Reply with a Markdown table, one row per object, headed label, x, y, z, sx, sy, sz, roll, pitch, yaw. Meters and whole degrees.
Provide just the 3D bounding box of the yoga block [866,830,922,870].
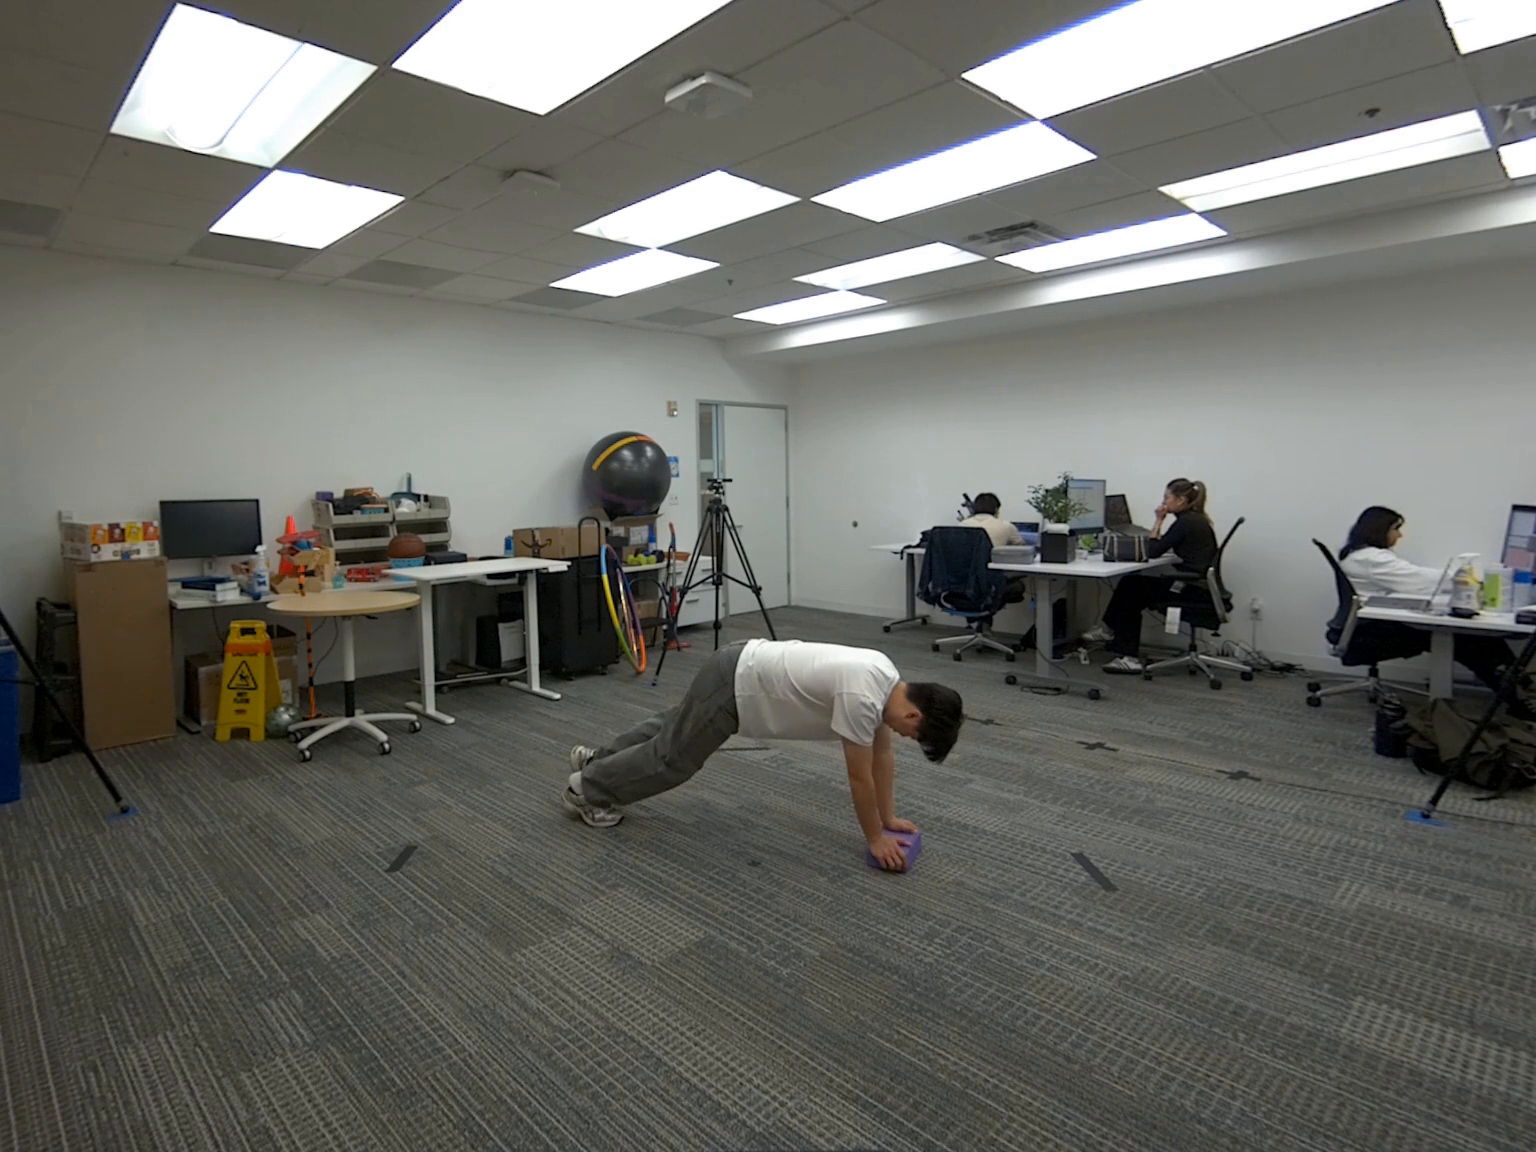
| label | x | y | z | sx | sy | sz | roll | pitch | yaw |
| --- | --- | --- | --- | --- | --- | --- | --- | --- | --- |
| yoga block | 0.469 | 1.003 | 3.143 | 0.152 | 0.076 | 0.225 | 4 | 6 | 25 |
